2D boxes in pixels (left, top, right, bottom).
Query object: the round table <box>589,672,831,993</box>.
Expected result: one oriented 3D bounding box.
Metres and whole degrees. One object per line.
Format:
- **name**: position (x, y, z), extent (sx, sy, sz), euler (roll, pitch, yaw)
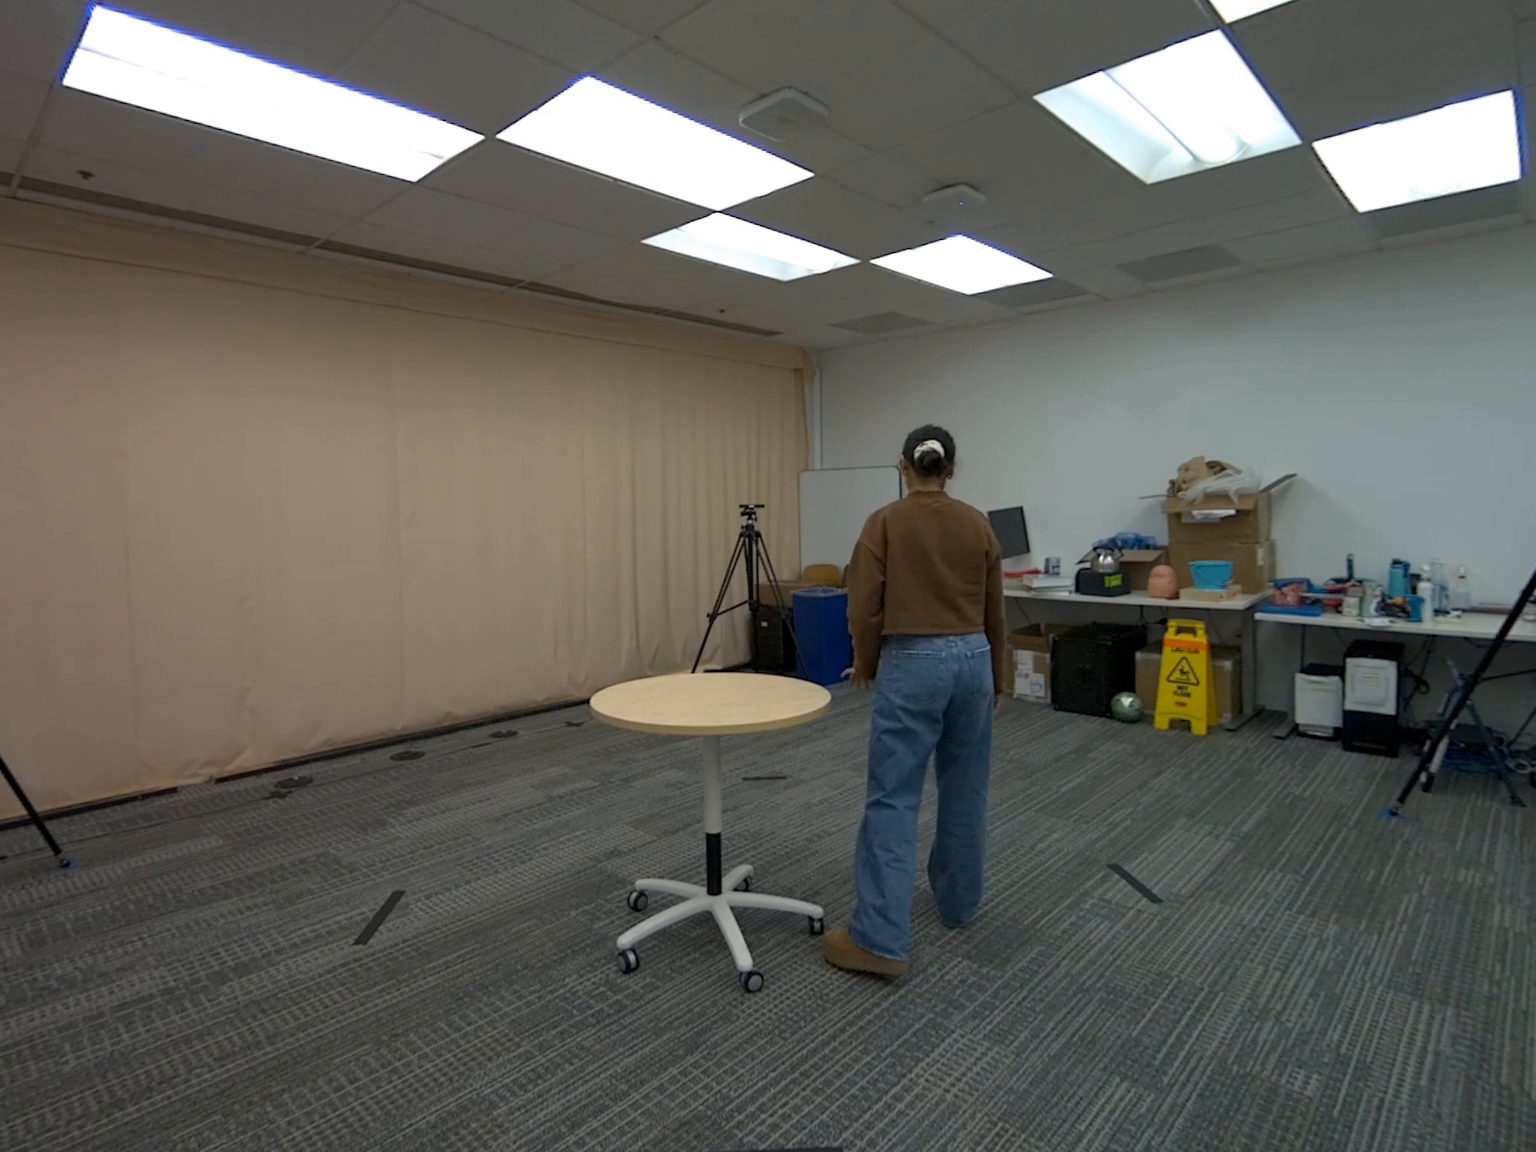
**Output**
- **round table**: position (-0.175, 0.780, 2.710), extent (0.763, 0.792, 0.766), euler (-1, 3, -2)
